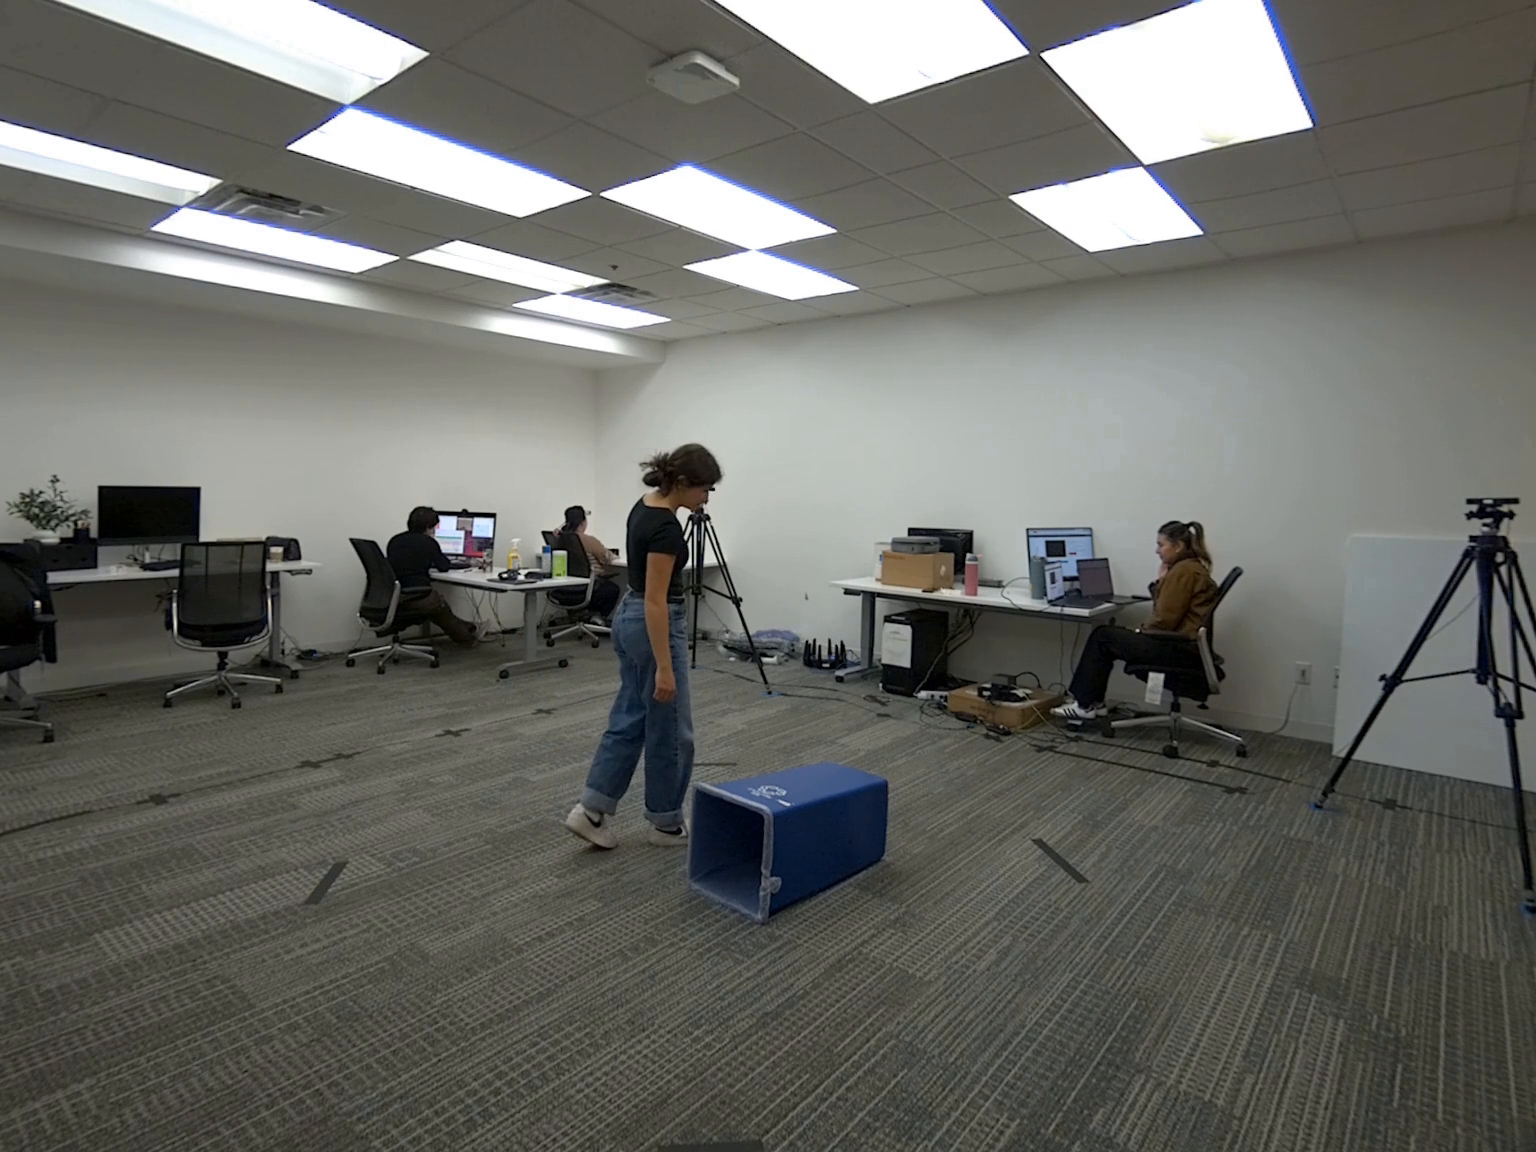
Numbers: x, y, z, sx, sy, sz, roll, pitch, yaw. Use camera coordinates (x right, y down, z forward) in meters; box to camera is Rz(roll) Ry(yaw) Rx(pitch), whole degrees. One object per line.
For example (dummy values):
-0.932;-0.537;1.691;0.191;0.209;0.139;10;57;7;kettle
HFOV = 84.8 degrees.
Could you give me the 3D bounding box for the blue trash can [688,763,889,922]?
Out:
0.087;0.908;3.073;0.387;0.378;0.690;4;3;44;blue trash can
